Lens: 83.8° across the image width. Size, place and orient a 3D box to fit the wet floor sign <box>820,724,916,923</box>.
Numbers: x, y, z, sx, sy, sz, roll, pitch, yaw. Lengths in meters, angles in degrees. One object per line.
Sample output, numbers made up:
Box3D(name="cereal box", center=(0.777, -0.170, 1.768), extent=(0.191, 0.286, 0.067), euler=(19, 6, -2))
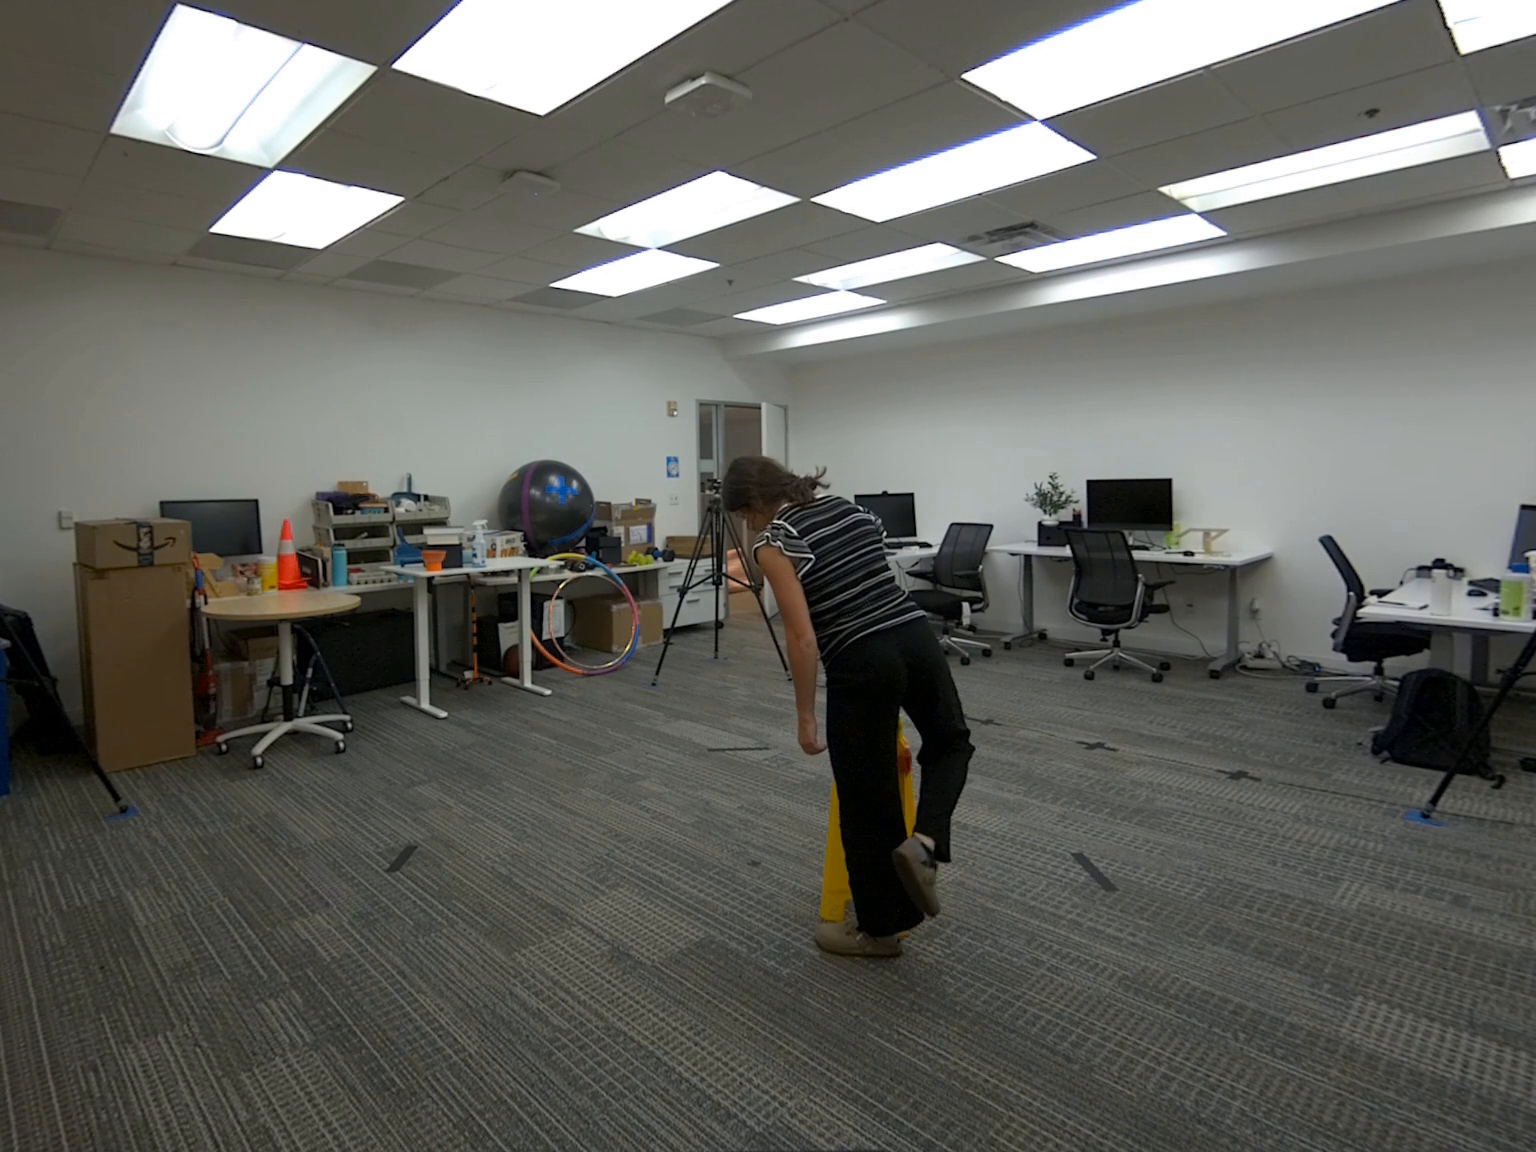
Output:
Box3D(name="wet floor sign", center=(0.339, 0.758, 2.731), extent=(0.288, 0.643, 0.285), euler=(-1, 5, 21))
